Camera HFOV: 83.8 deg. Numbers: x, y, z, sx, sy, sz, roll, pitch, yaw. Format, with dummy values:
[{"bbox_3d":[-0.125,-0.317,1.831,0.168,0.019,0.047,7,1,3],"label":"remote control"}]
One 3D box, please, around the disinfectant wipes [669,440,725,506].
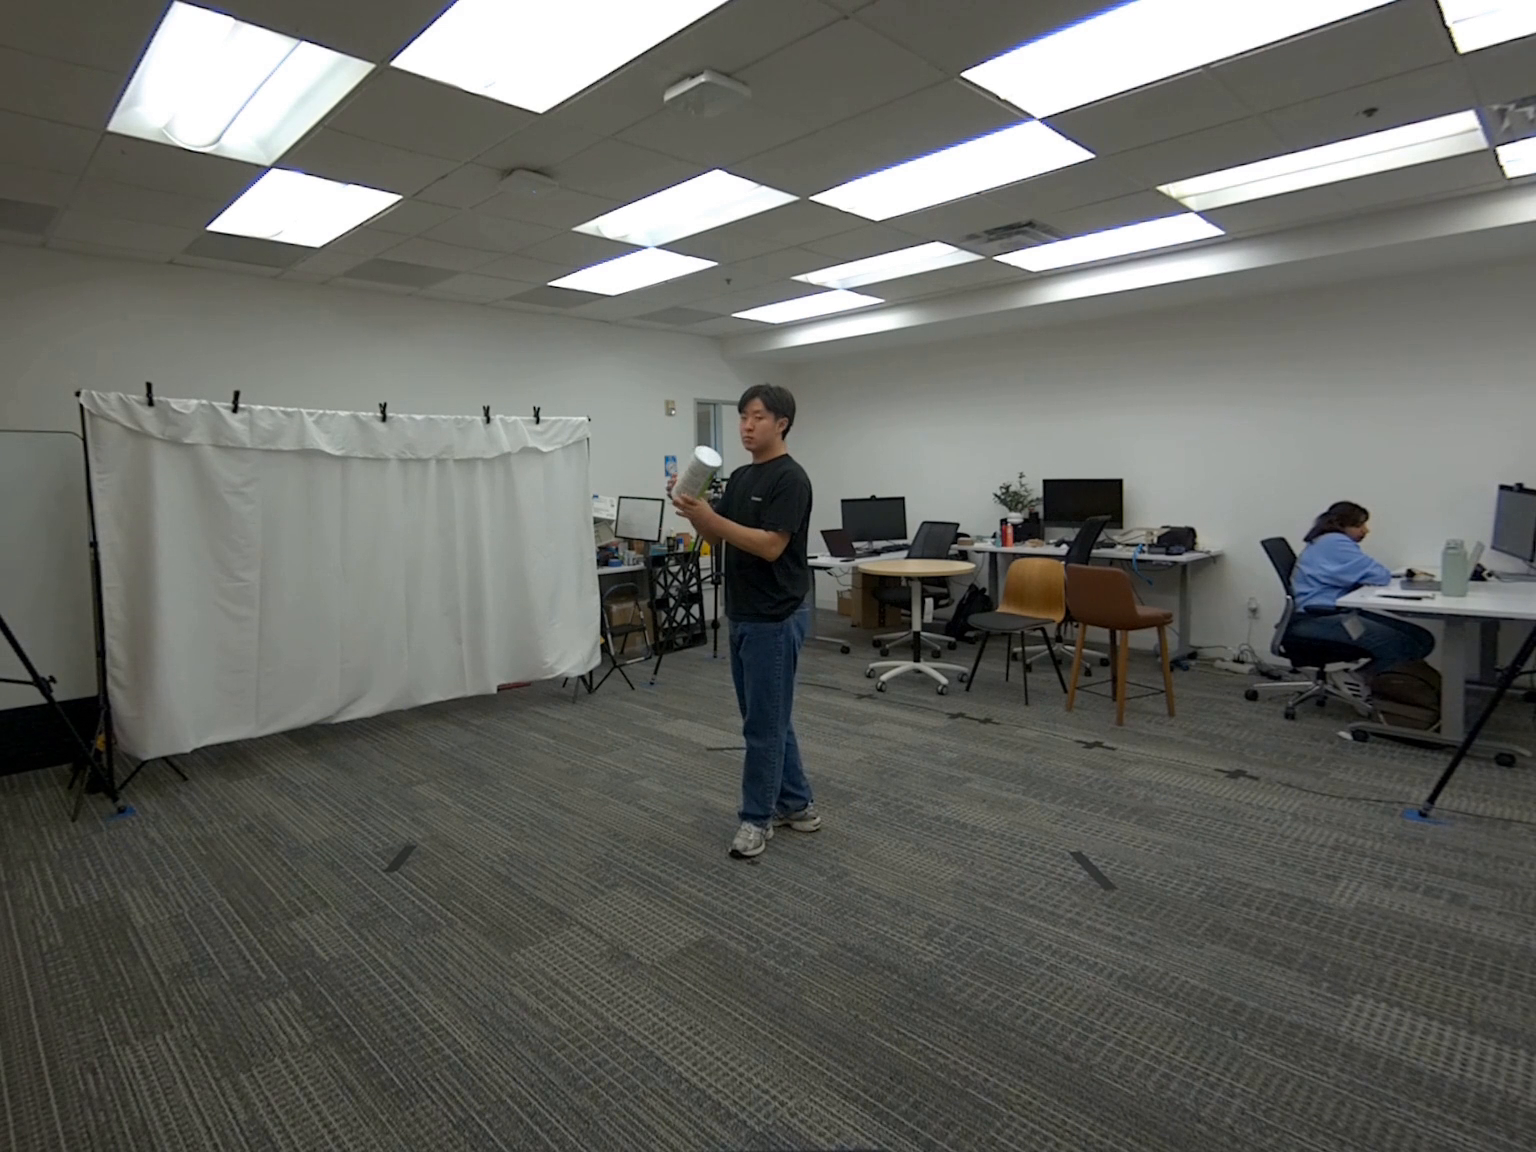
[{"bbox_3d":[-0.258,-0.355,3.090,0.115,0.216,0.121,21,36,-18],"label":"disinfectant wipes"}]
